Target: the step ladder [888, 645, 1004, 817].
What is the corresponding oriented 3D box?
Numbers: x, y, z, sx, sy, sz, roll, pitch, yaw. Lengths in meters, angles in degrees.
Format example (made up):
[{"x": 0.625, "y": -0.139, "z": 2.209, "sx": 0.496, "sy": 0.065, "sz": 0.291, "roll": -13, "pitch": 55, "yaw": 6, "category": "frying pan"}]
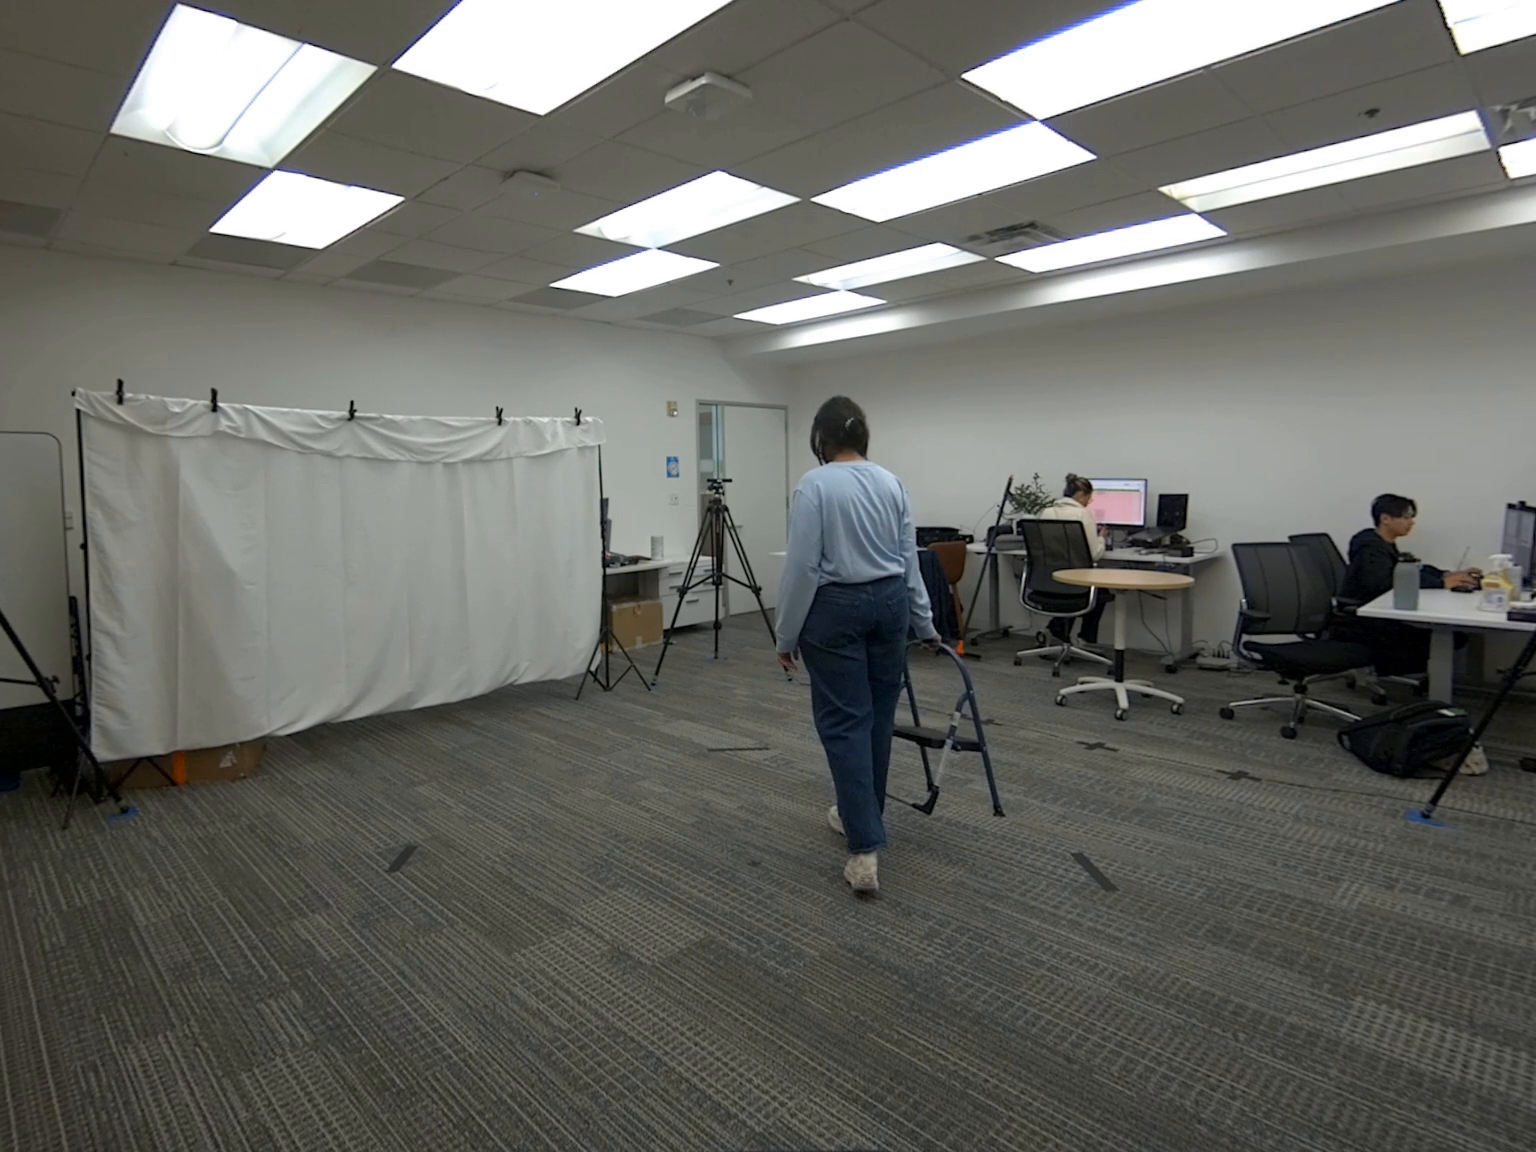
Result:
[{"x": 0.653, "y": 0.565, "z": 3.294, "sx": 0.341, "sy": 0.609, "sz": 0.439, "roll": 7, "pitch": -5, "yaw": -25, "category": "step ladder"}]
